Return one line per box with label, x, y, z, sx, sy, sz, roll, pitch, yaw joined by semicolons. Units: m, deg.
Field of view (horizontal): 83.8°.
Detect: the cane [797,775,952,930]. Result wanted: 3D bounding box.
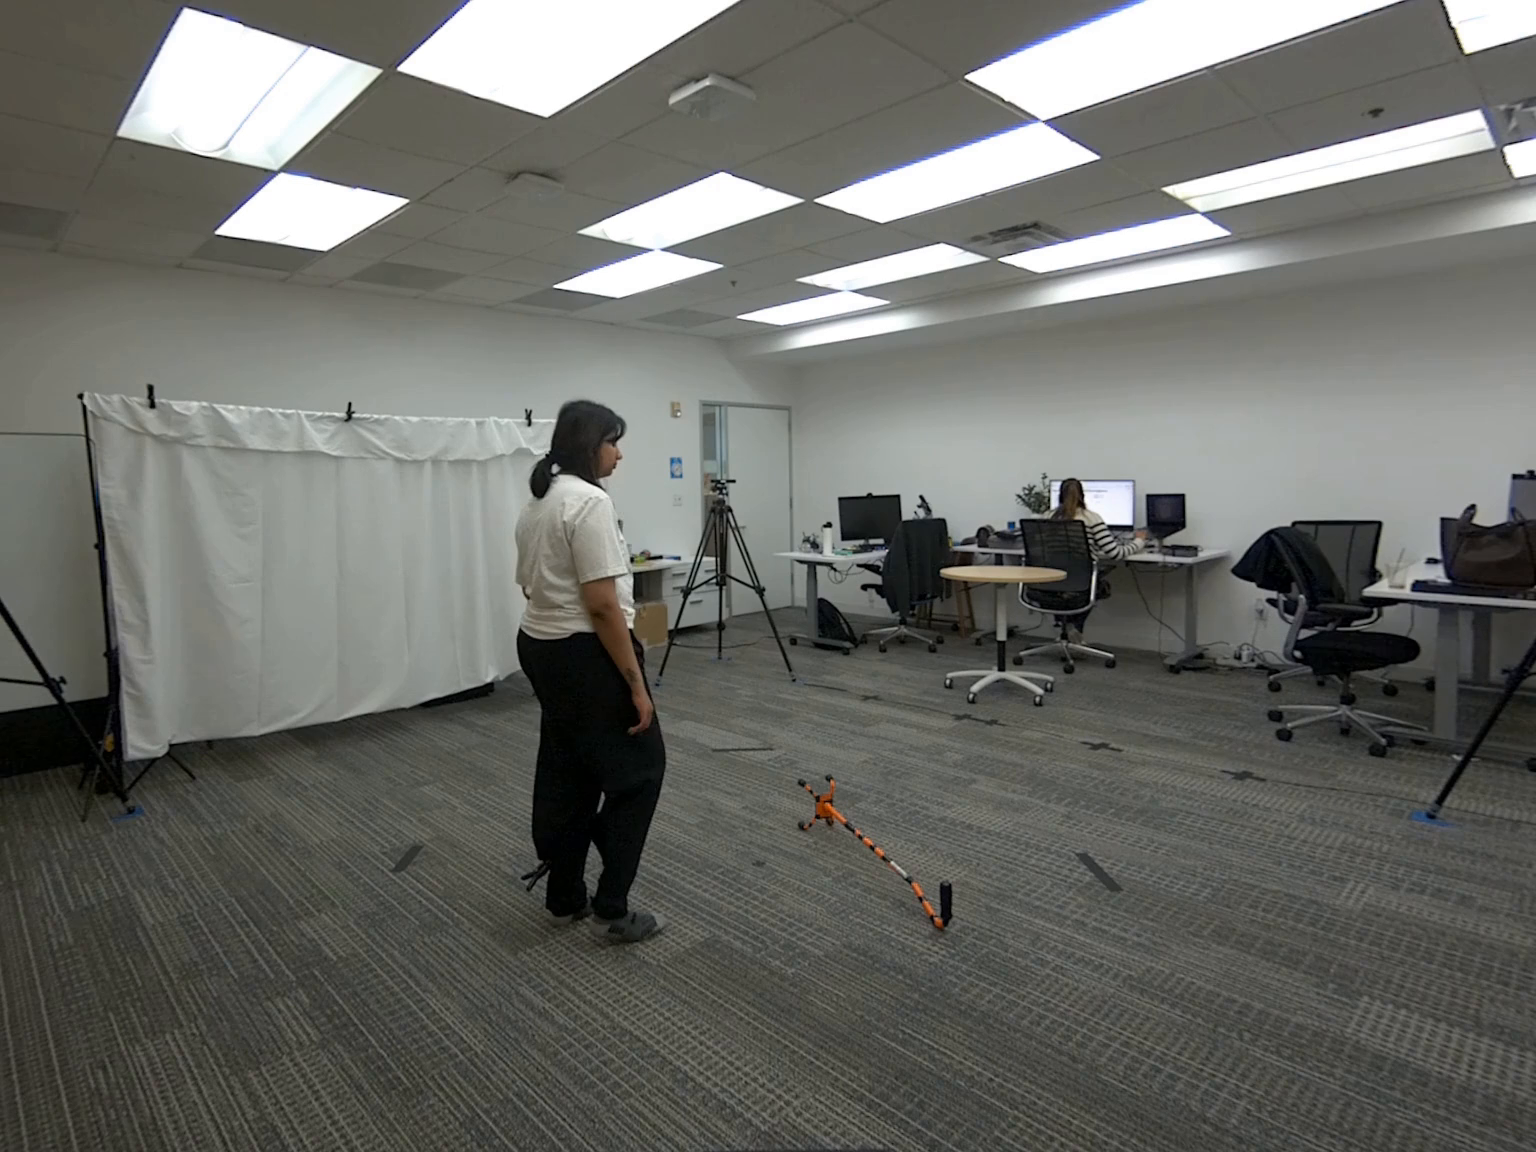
cane;0.360;0.959;3.013;0.149;0.205;0.930;-1;8;-22
